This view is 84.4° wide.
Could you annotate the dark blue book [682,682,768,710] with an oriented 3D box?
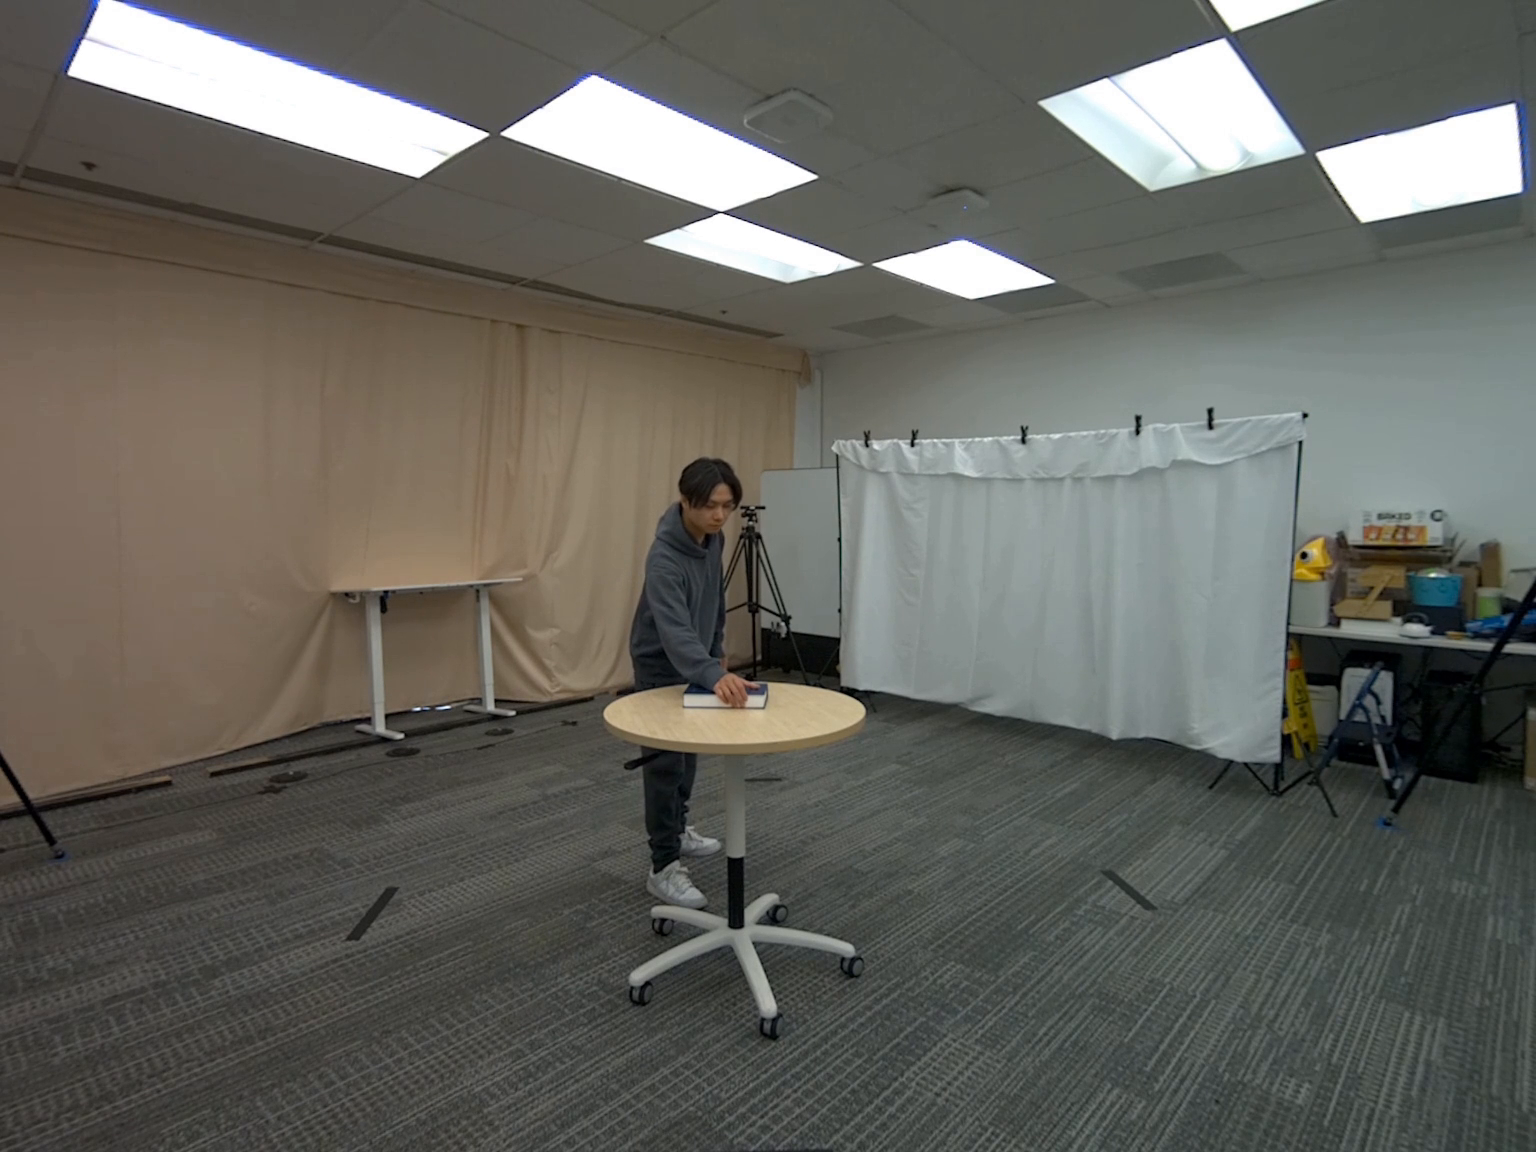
[{"bbox_3d":[-0.119,0.365,2.565,0.247,0.045,0.163,0,6,5],"label":"dark blue book"}]
